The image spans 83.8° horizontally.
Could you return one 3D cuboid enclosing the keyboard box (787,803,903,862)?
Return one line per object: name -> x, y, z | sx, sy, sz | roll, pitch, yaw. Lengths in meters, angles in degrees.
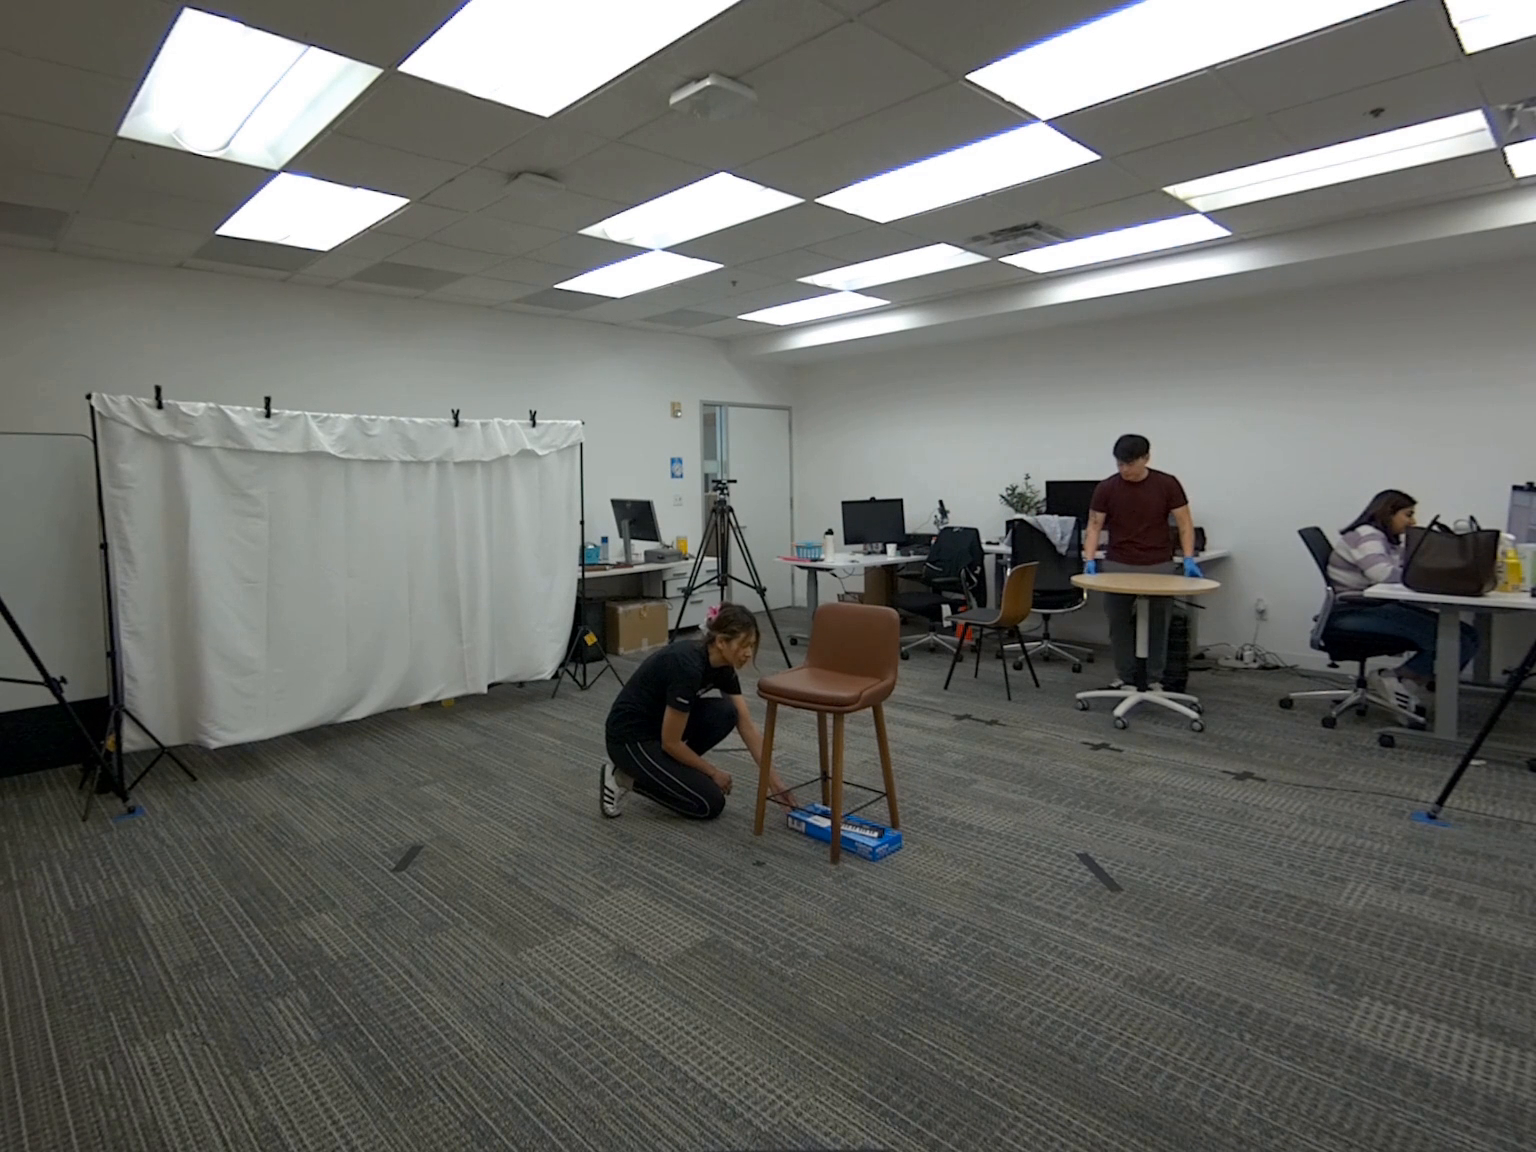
keyboard box -> 0.289, 0.981, 3.314 | 0.171, 0.059, 0.450 | -7, 8, -44
